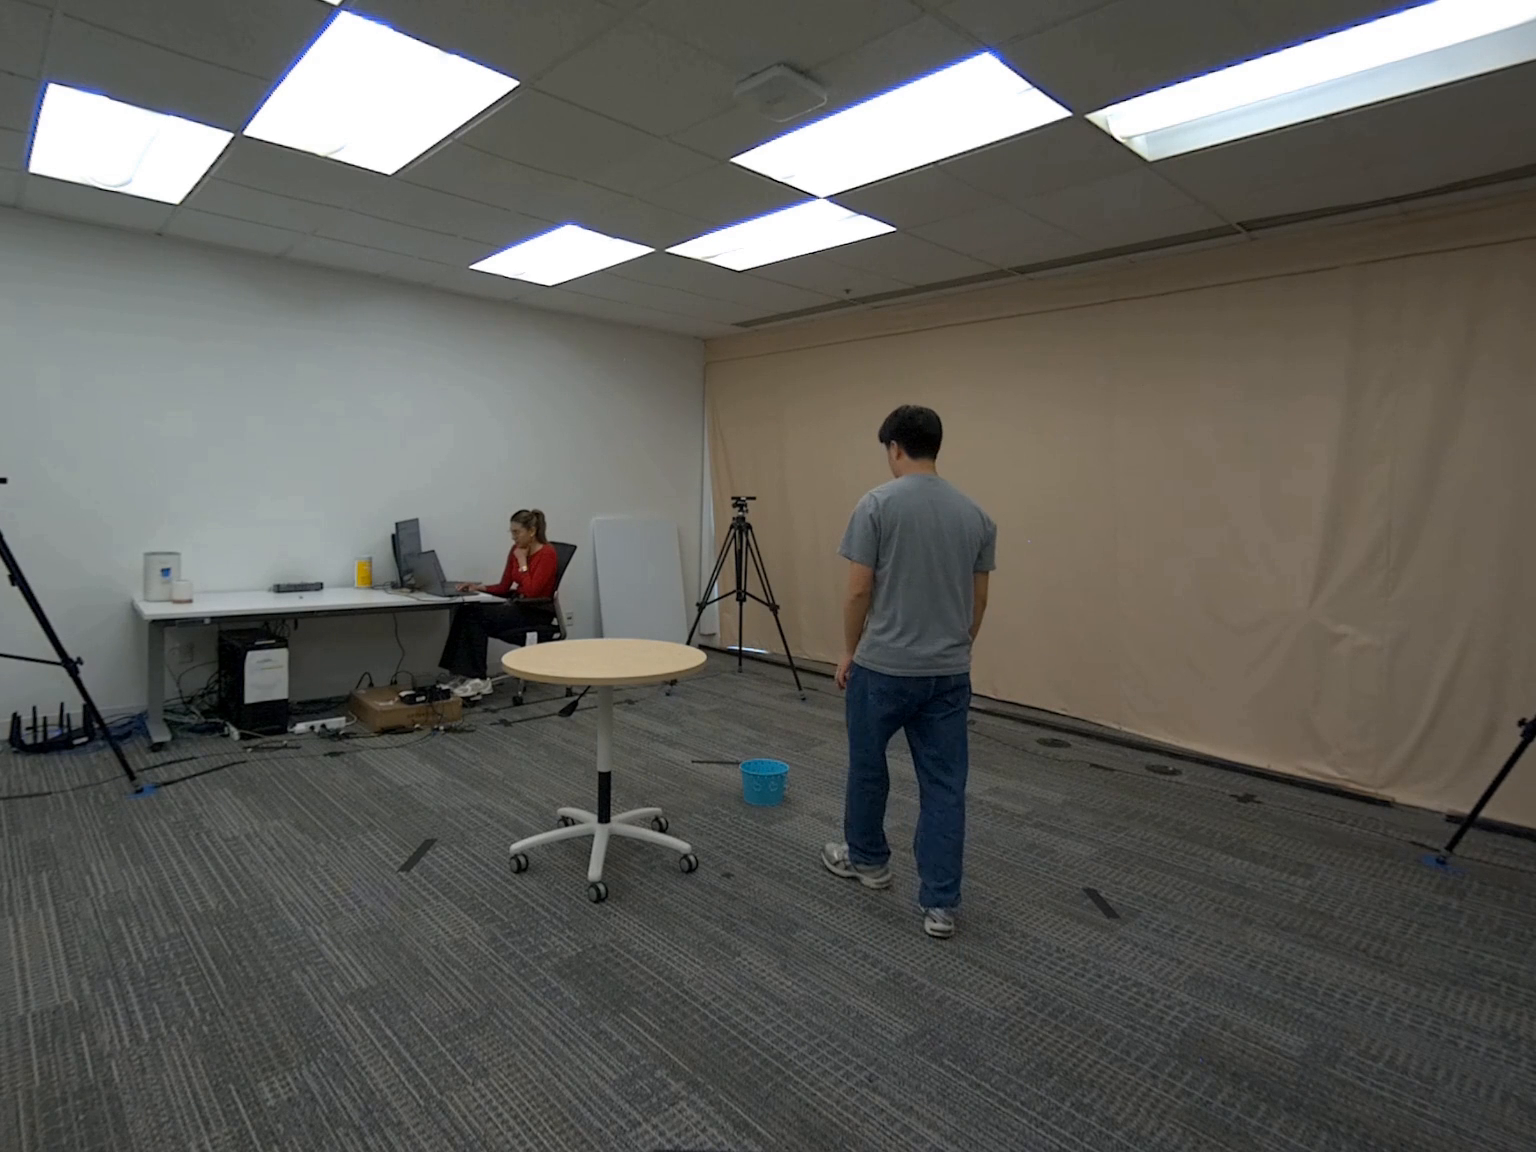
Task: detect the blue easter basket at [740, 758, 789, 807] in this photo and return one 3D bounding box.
[{"bbox_3d":[-0.021,0.961,3.918,0.243,0.155,0.244,1,5,-1],"label":"blue easter basket"}]
